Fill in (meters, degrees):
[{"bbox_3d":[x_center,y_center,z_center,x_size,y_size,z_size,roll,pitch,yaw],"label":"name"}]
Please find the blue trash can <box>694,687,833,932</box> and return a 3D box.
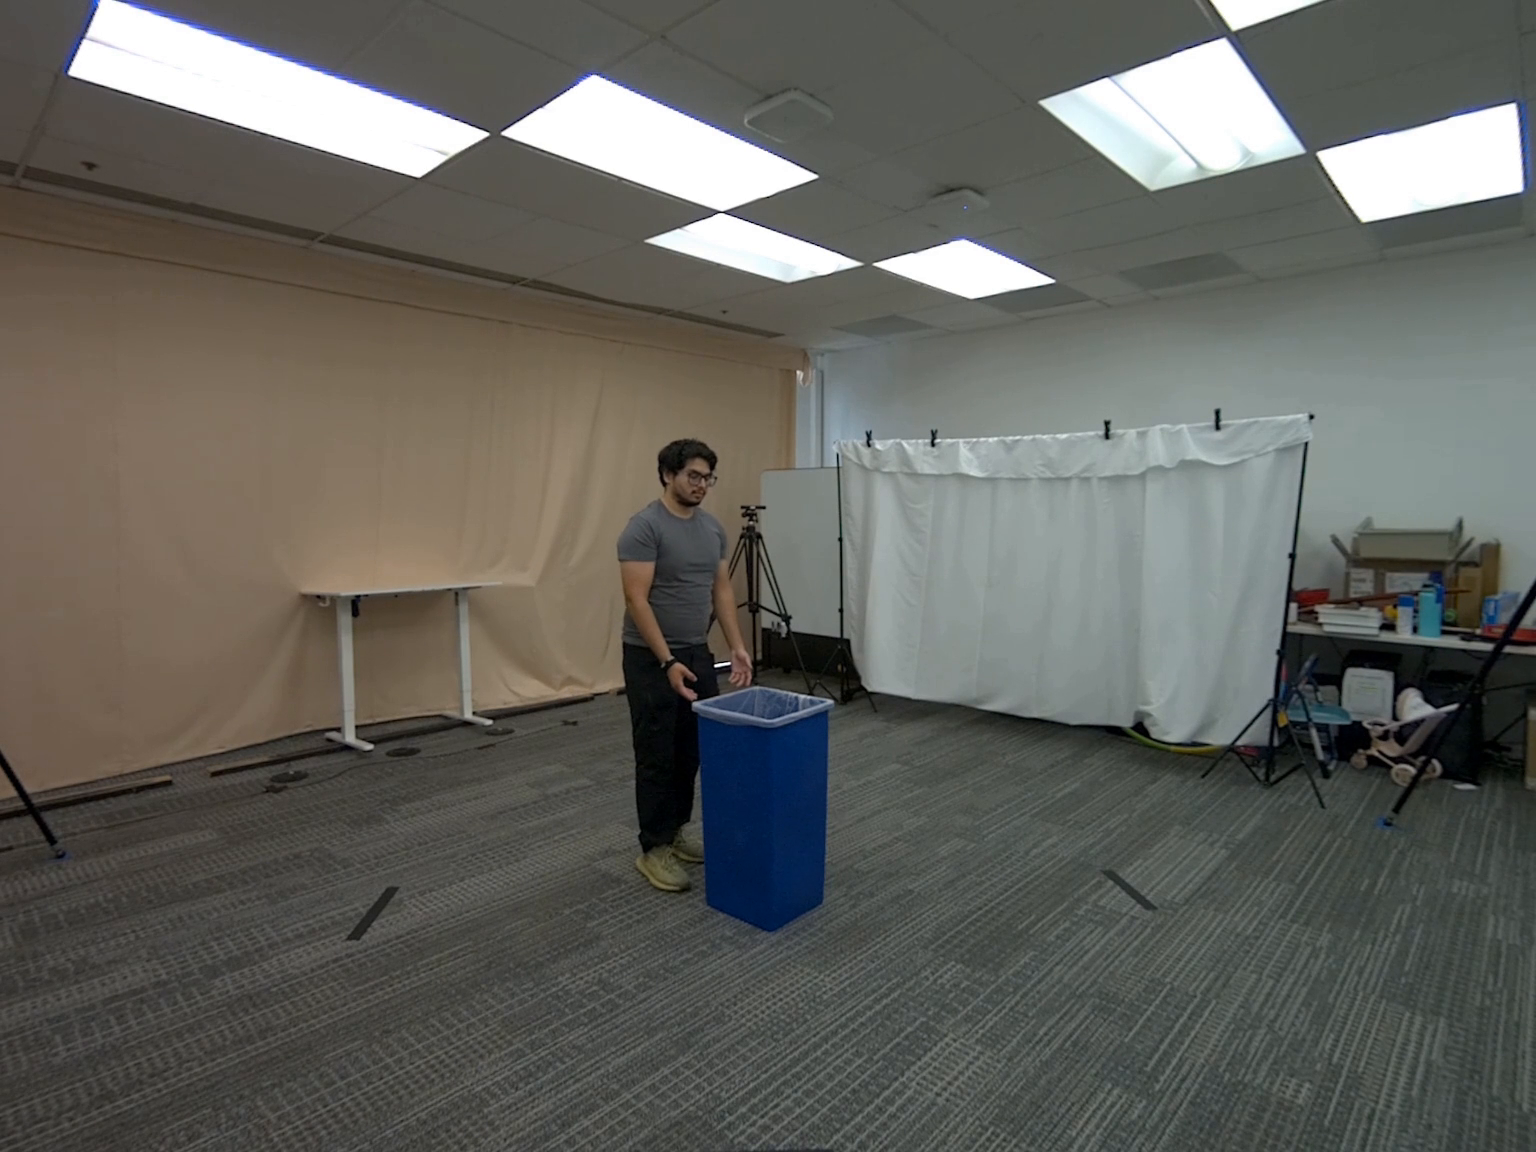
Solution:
[{"bbox_3d":[-0.017,0.790,2.933,0.386,0.712,0.367,3,5,40],"label":"blue trash can"}]
